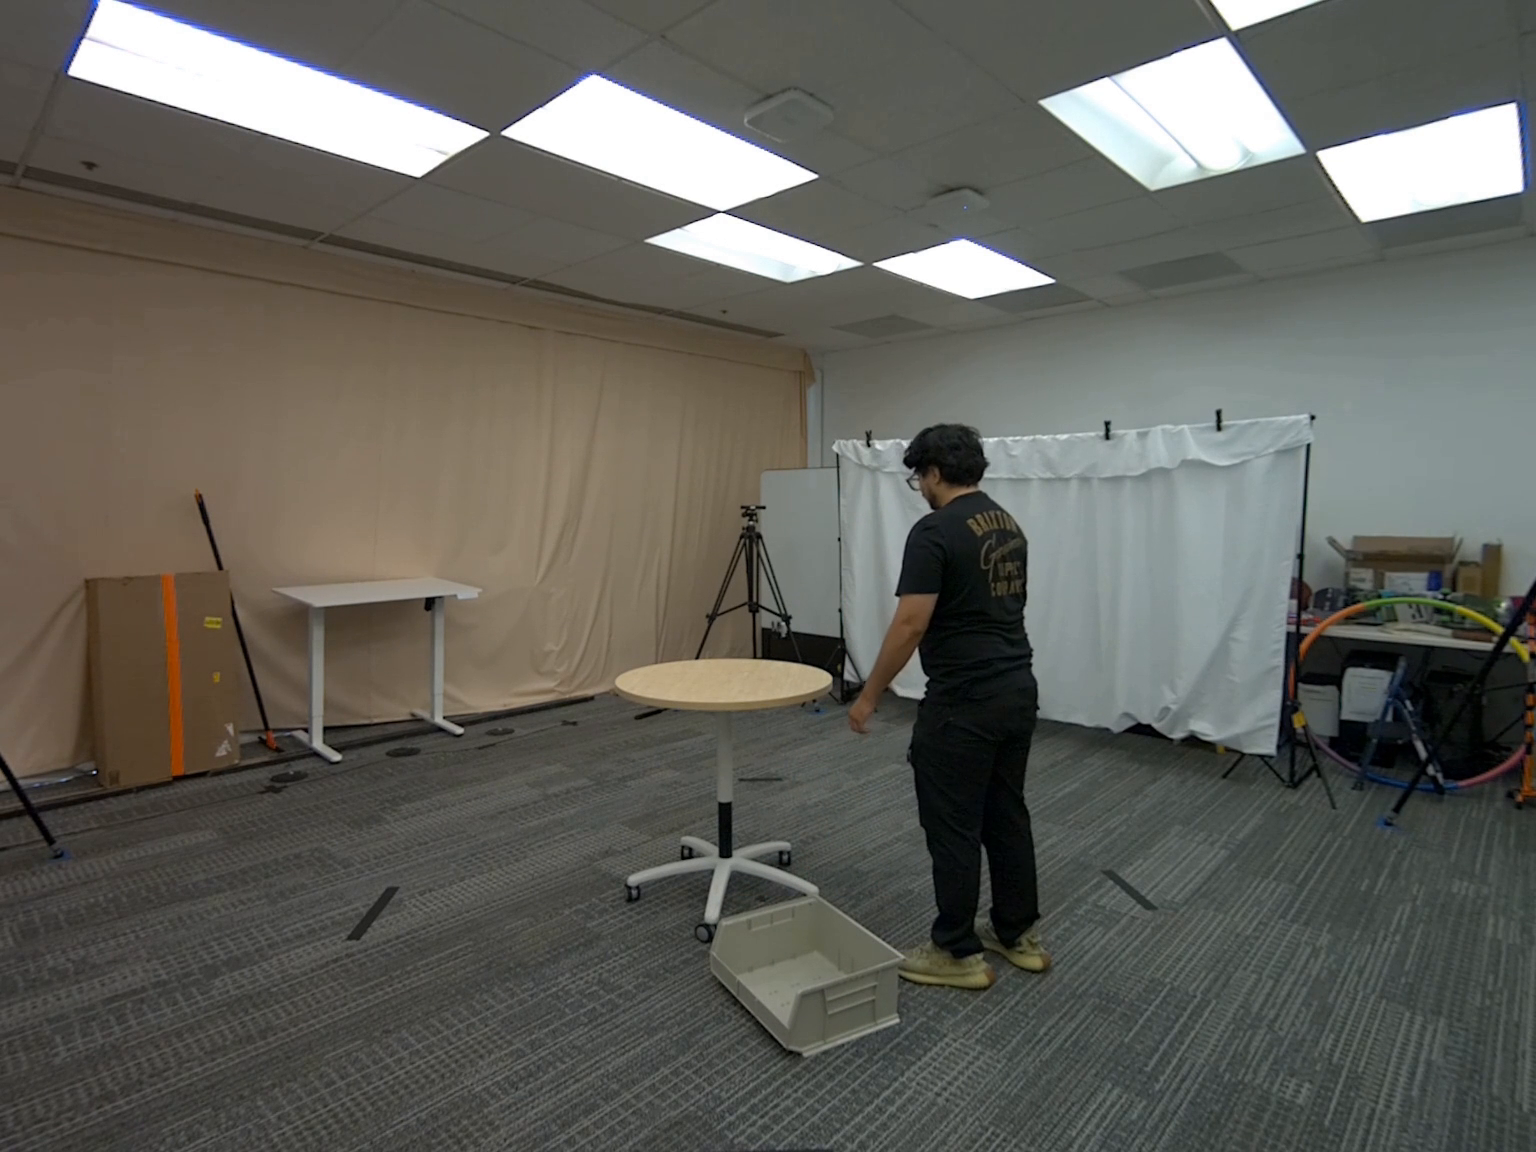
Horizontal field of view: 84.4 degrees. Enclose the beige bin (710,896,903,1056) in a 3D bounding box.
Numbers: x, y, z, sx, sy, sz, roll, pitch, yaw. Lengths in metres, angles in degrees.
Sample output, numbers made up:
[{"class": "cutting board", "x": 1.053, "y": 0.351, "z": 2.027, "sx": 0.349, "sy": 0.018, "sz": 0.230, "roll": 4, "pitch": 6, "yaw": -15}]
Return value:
[{"class": "beige bin", "x": 0.106, "y": 1.109, "z": 2.357, "sx": 0.367, "sy": 0.188, "sz": 0.435, "roll": -1, "pitch": 4, "yaw": -31}]
